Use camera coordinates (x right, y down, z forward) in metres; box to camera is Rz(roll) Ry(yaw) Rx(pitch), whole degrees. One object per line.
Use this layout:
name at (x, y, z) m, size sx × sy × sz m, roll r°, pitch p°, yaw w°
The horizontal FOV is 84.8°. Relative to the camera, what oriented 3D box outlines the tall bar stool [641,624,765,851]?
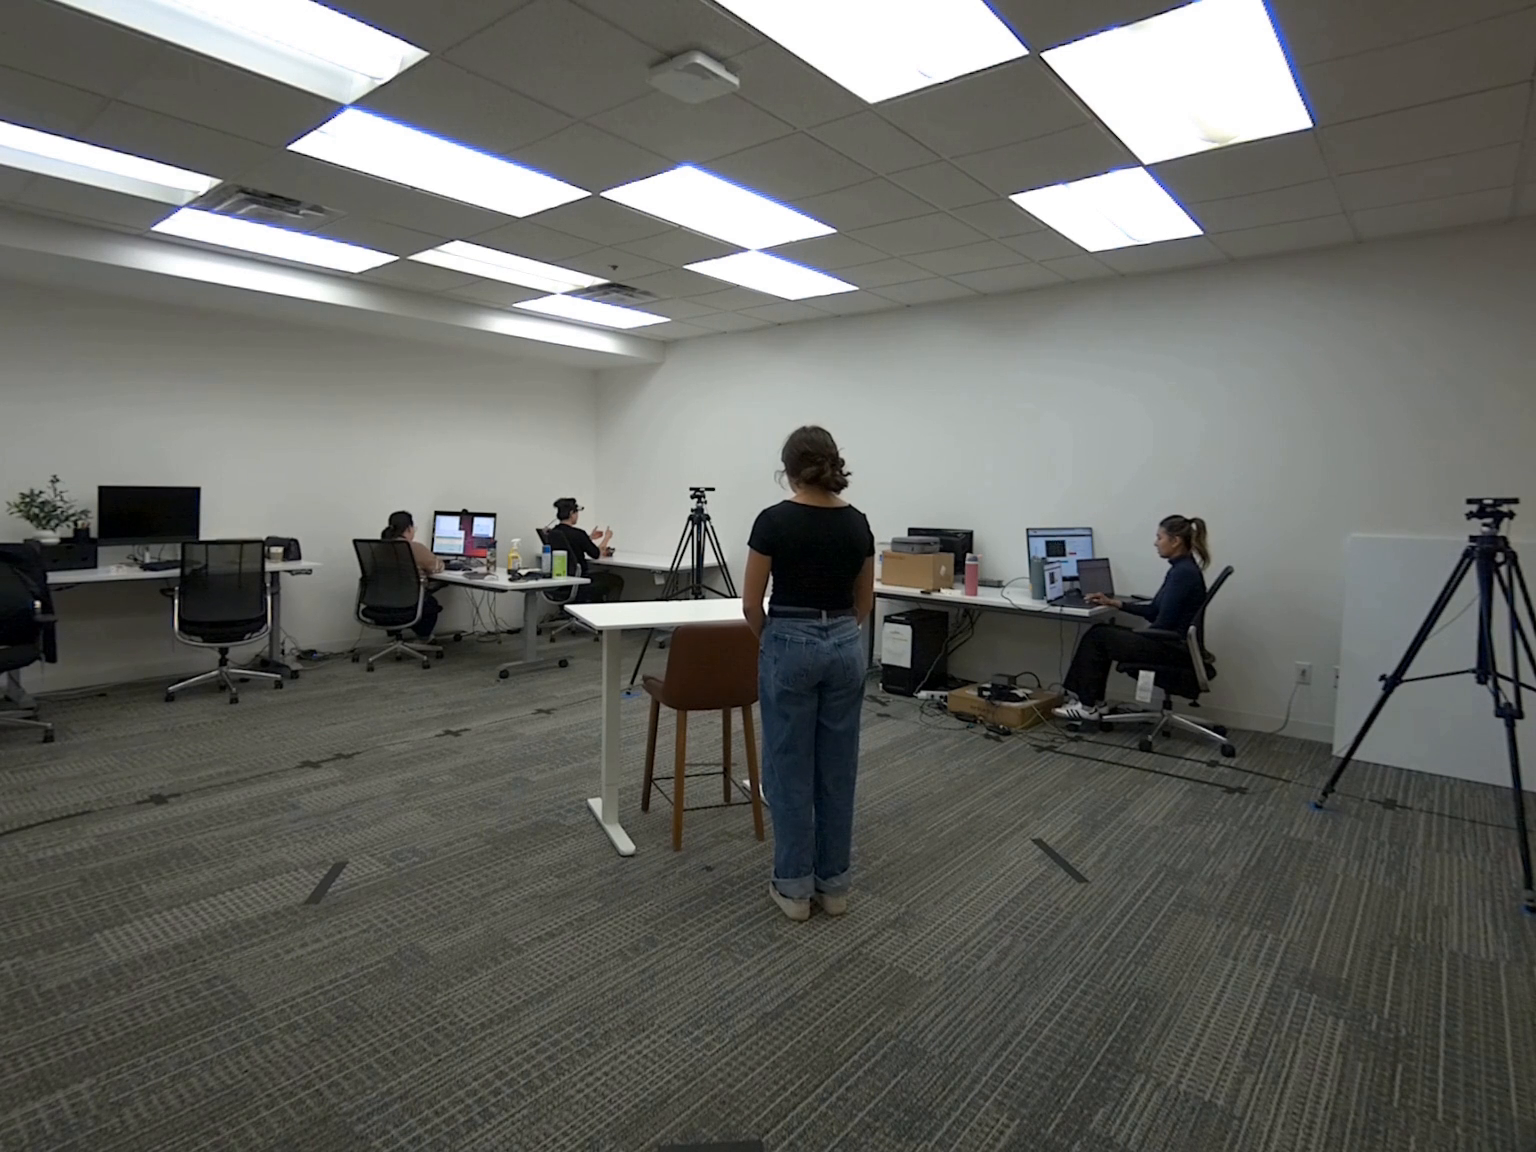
tall bar stool at (-0.273, 0.597, 3.489) m, size 0.447 × 0.886 × 0.479 m, roll 0°, pitch 5°, yaw -21°
